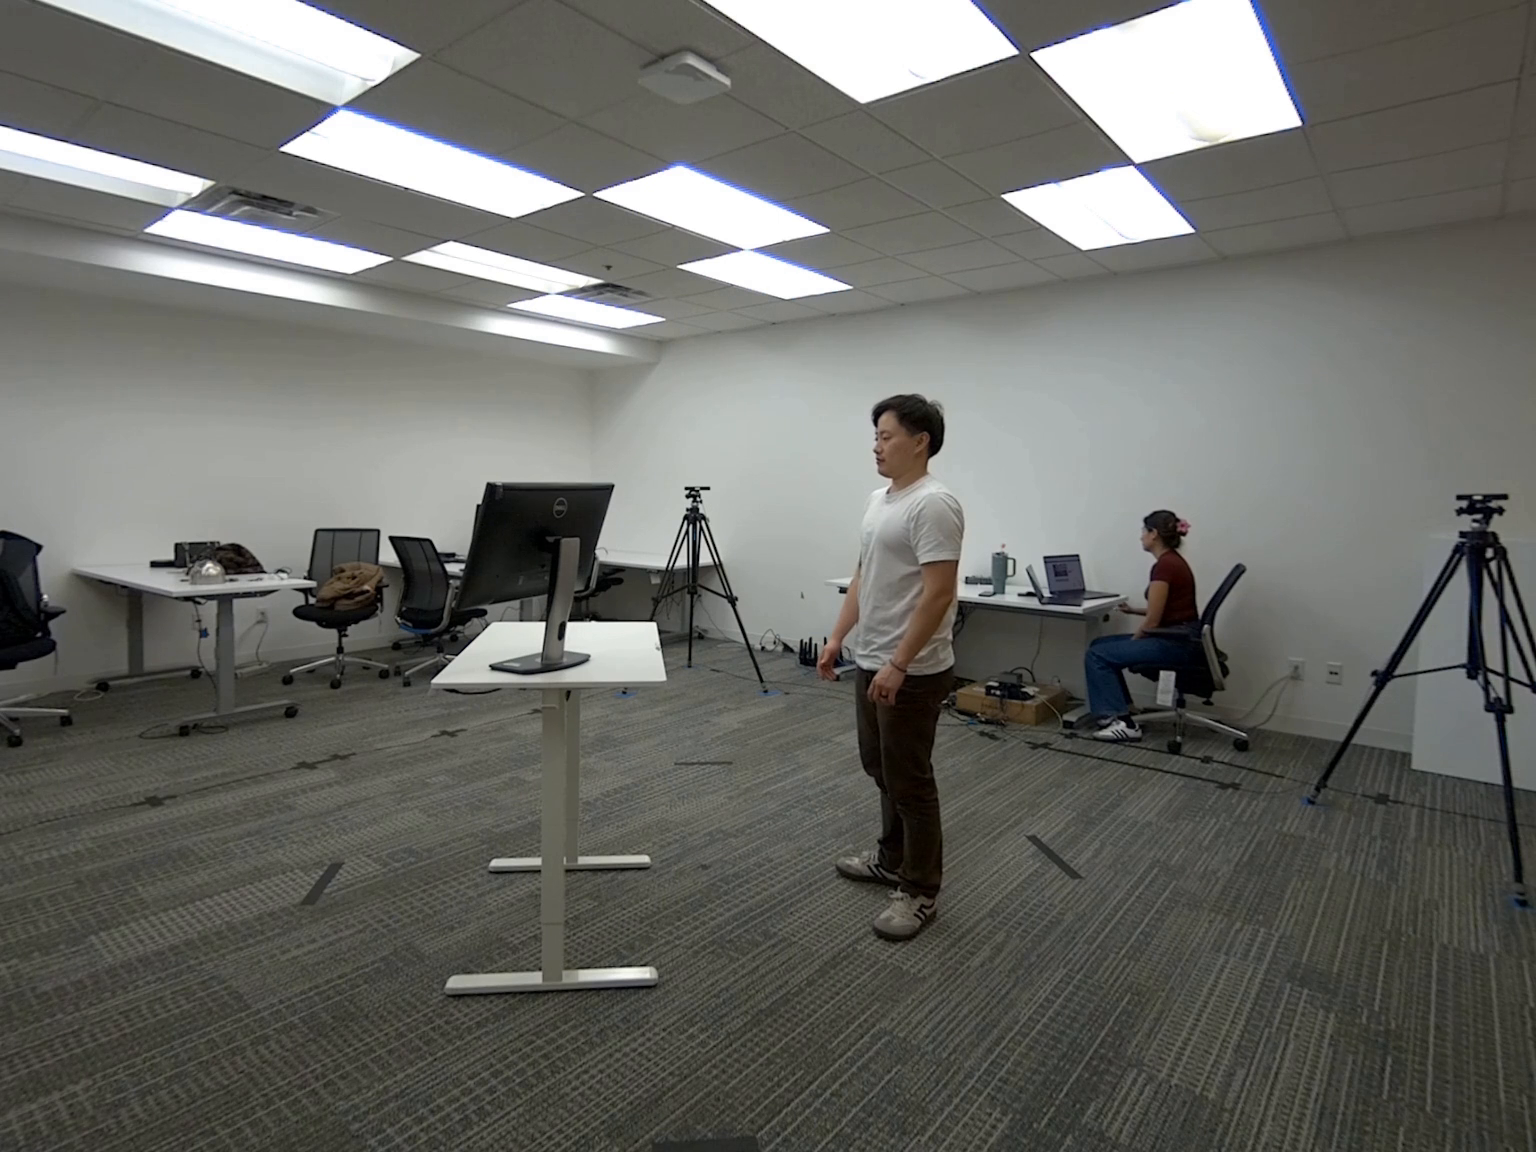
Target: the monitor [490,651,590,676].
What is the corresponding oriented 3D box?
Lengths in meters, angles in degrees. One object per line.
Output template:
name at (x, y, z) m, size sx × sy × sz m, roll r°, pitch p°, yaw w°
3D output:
monitor at (-0.625, 0.000, 2.386) m, size 0.192 × 0.520 × 0.528 m, roll 7°, pitch 7°, yaw 22°
